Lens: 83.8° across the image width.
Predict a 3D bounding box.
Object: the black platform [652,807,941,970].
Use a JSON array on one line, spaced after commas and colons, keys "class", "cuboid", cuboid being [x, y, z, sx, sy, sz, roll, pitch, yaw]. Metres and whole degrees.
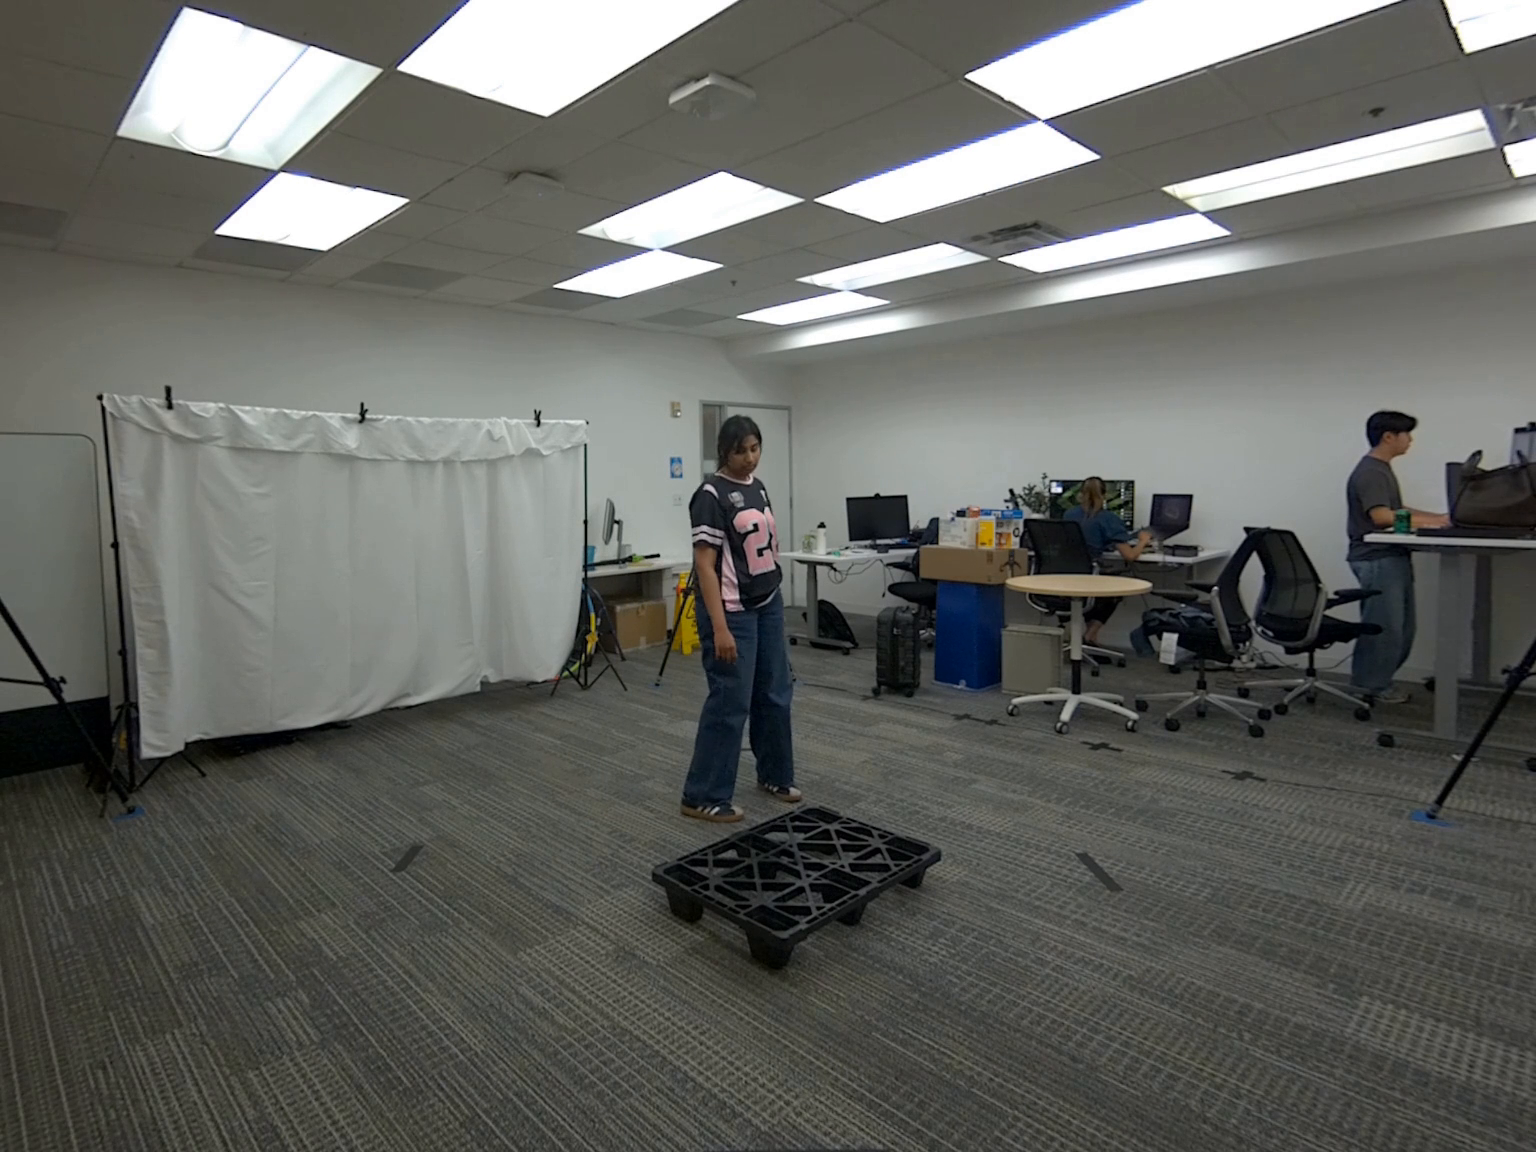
[{"class": "black platform", "cuboid": [0.110, 1.008, 2.846, 0.785, 0.142, 0.624, -8, 10, -44]}]
